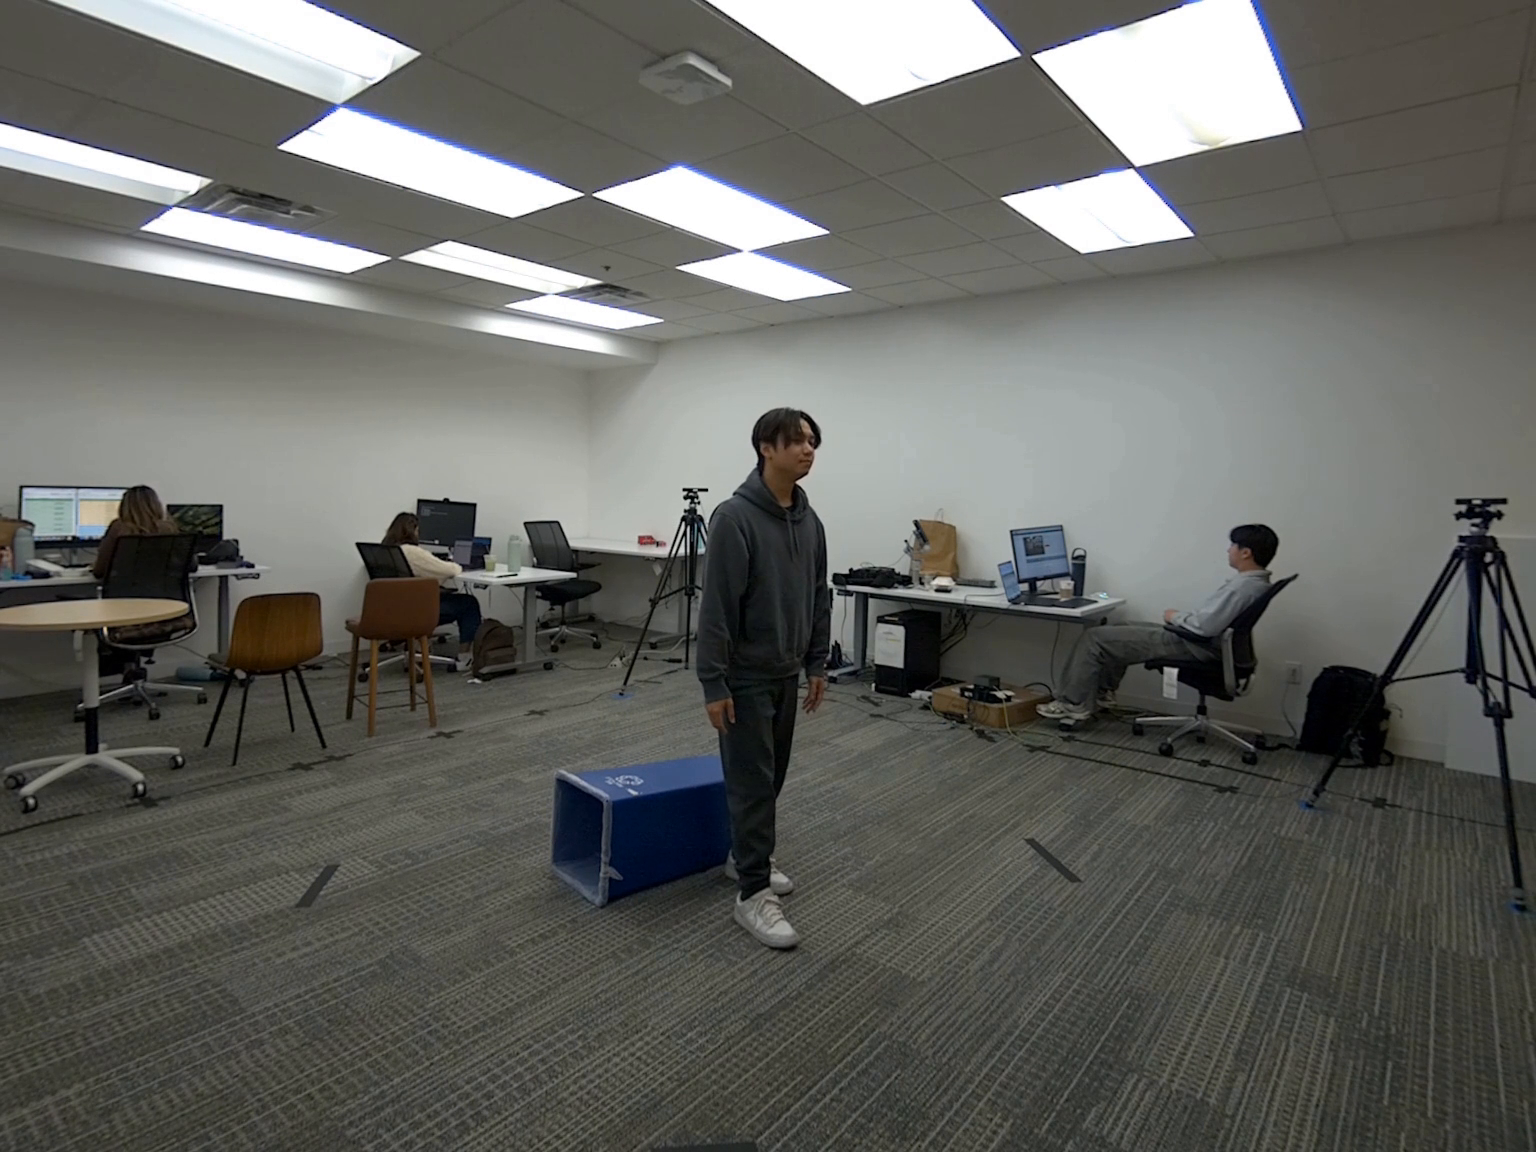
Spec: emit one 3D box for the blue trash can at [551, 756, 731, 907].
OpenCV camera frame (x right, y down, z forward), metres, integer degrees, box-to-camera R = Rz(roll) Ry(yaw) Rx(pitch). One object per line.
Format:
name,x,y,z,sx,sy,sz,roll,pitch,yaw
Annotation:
blue trash can,-0.411,0.892,3.153,0.691,0.377,0.387,1,3,-41
